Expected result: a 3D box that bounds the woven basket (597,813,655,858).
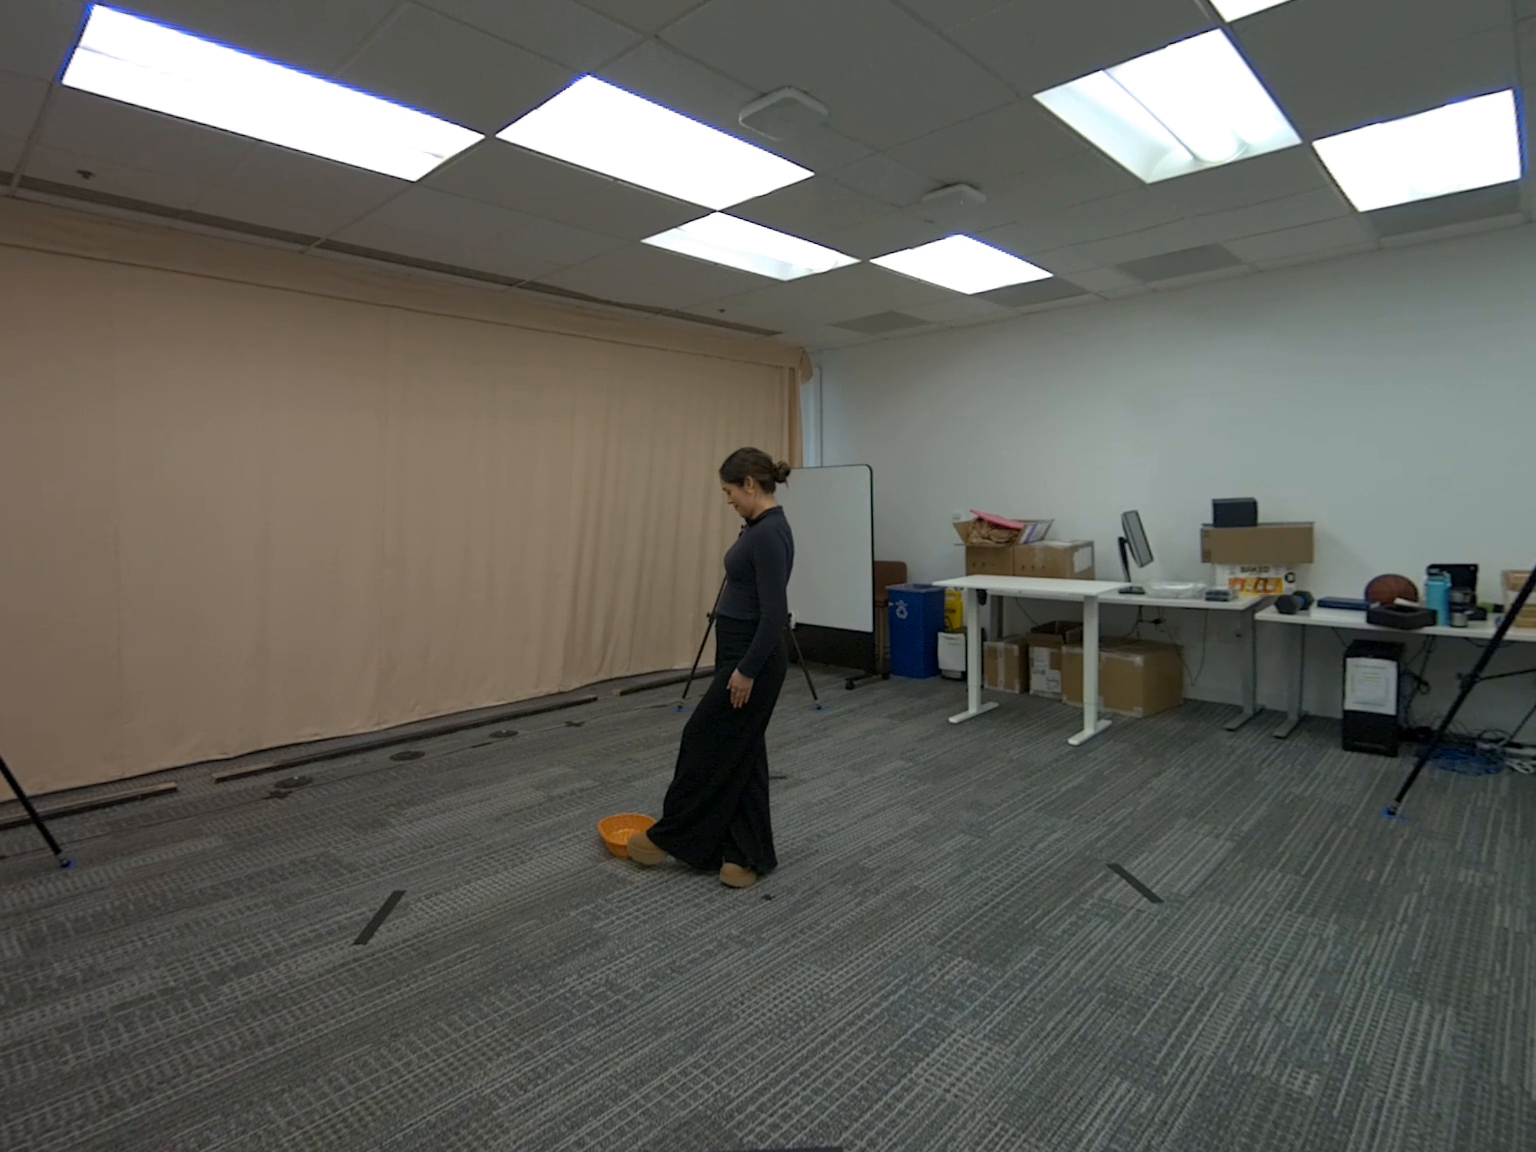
[{"bbox_3d":[-0.572,1.070,3.474,0.247,0.073,0.358,-2,5,-21],"label":"woven basket"}]
